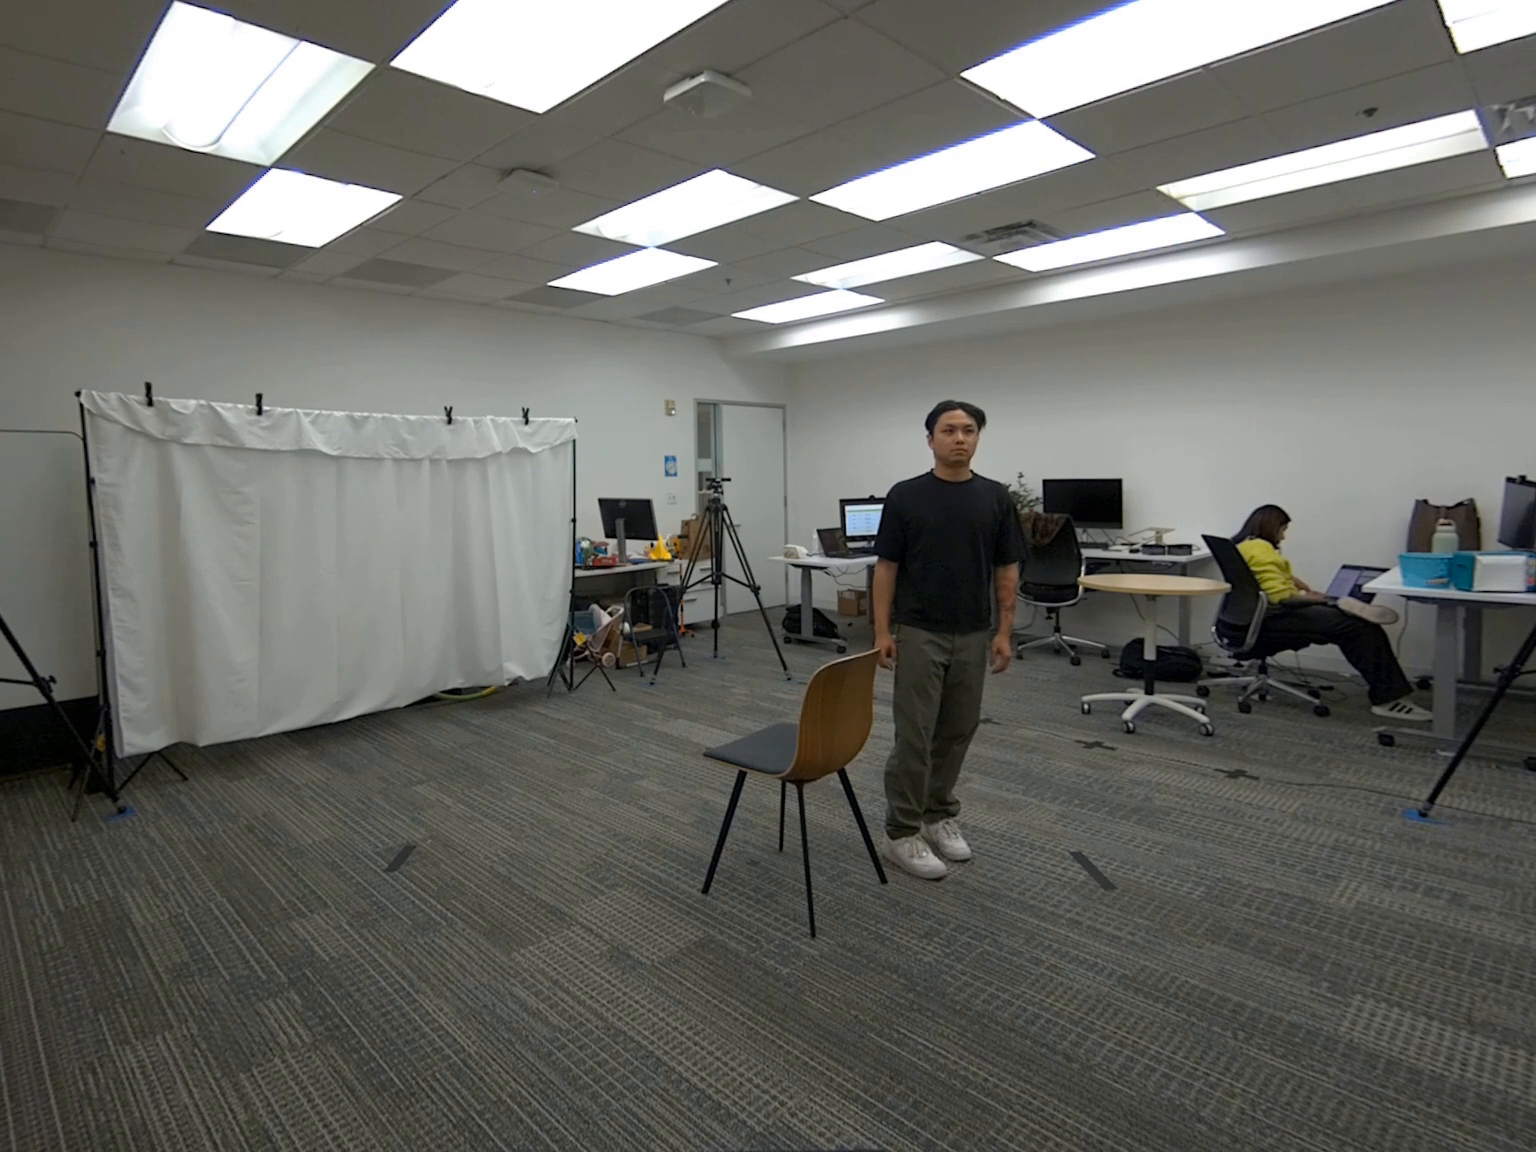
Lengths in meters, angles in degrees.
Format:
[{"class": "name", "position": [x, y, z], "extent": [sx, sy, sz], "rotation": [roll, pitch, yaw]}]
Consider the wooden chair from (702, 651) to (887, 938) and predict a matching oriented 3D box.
[{"class": "wooden chair", "position": [0.081, 0.639, 2.875], "extent": [0.540, 0.872, 0.466], "rotation": [8, 9, 38]}]
